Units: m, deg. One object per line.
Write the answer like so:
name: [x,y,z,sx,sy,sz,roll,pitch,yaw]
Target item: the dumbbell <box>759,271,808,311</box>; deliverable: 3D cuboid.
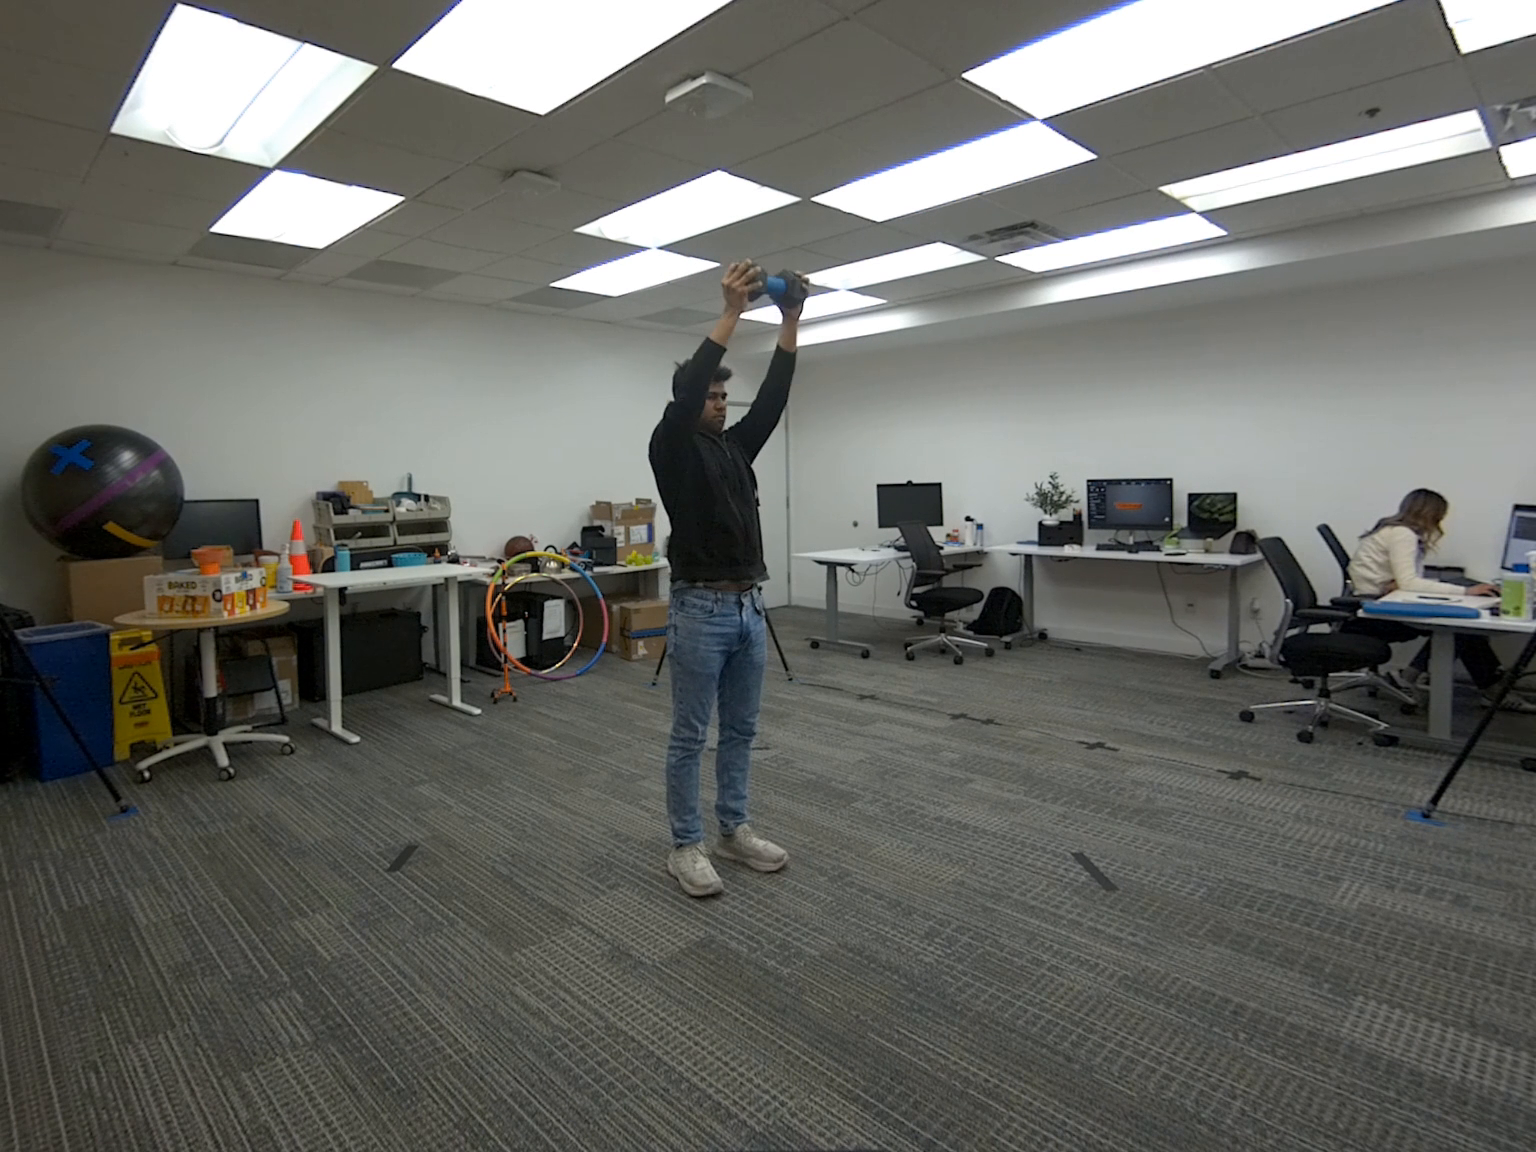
dumbbell: [0.010,-0.938,2.789,0.127,0.108,0.287,44,32,24]
